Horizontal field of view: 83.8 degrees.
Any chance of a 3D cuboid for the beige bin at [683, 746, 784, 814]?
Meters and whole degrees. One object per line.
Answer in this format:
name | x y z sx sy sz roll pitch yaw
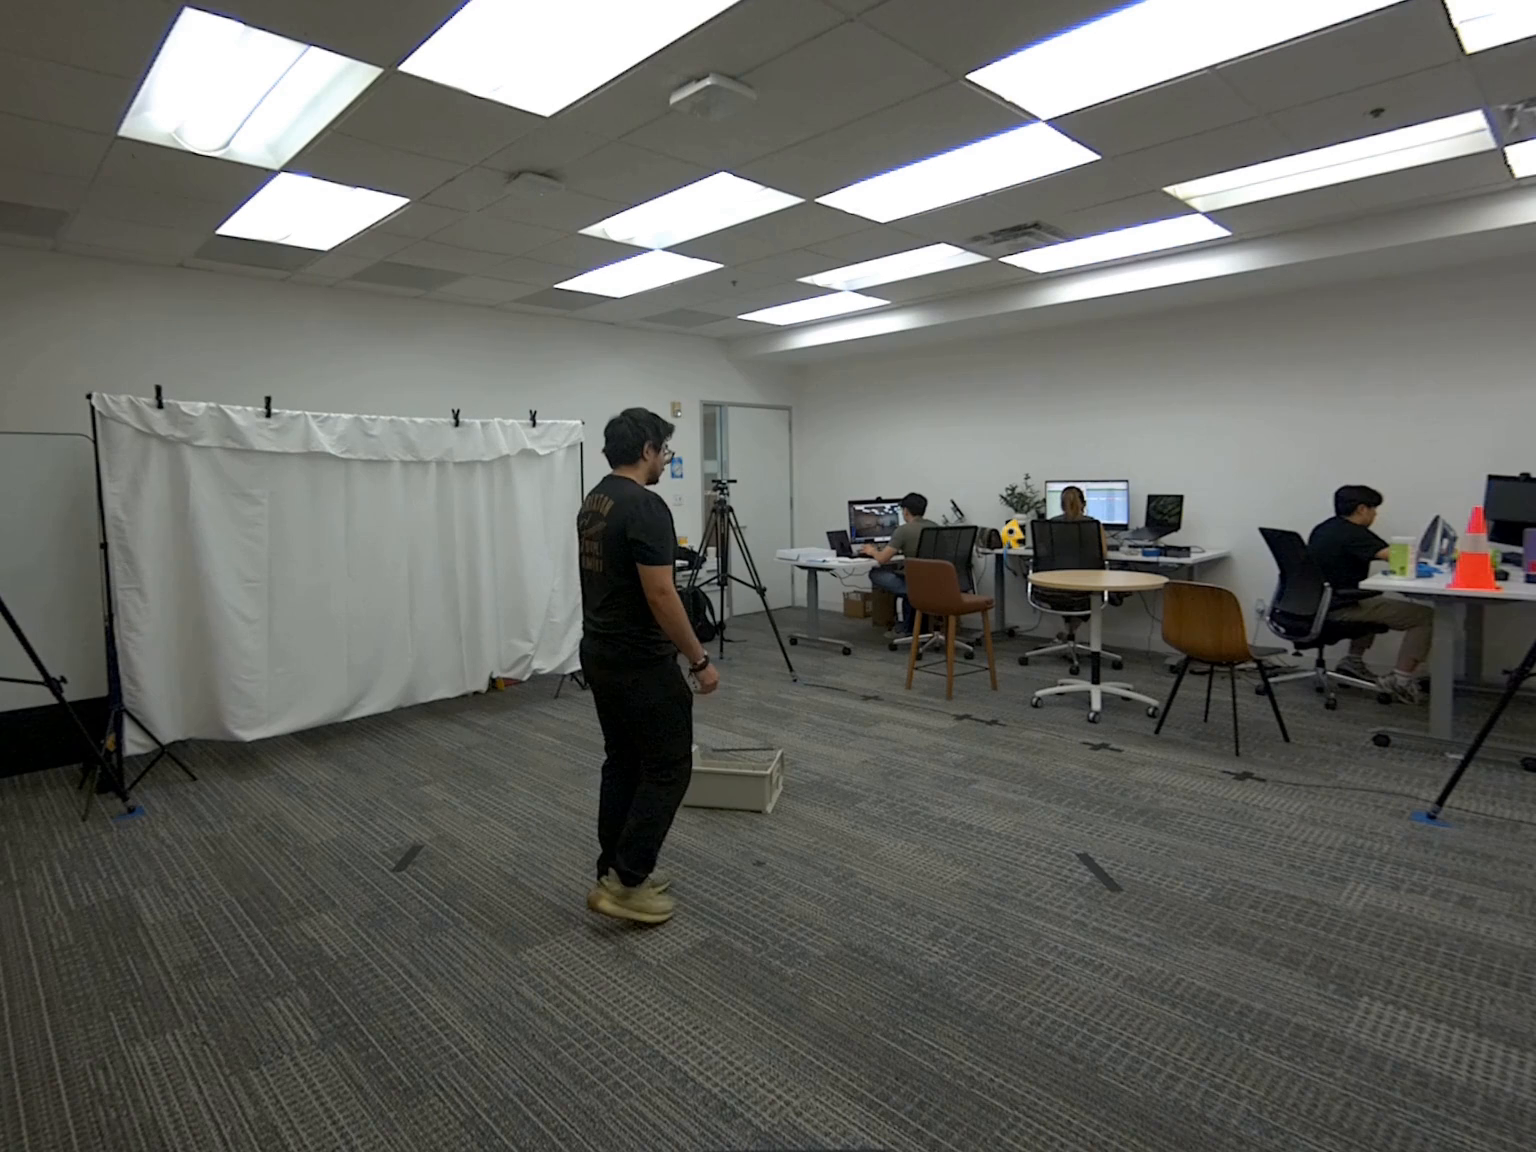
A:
beige bin | -0.162 0.890 3.796 0.428 0.188 0.374 1 7 12
